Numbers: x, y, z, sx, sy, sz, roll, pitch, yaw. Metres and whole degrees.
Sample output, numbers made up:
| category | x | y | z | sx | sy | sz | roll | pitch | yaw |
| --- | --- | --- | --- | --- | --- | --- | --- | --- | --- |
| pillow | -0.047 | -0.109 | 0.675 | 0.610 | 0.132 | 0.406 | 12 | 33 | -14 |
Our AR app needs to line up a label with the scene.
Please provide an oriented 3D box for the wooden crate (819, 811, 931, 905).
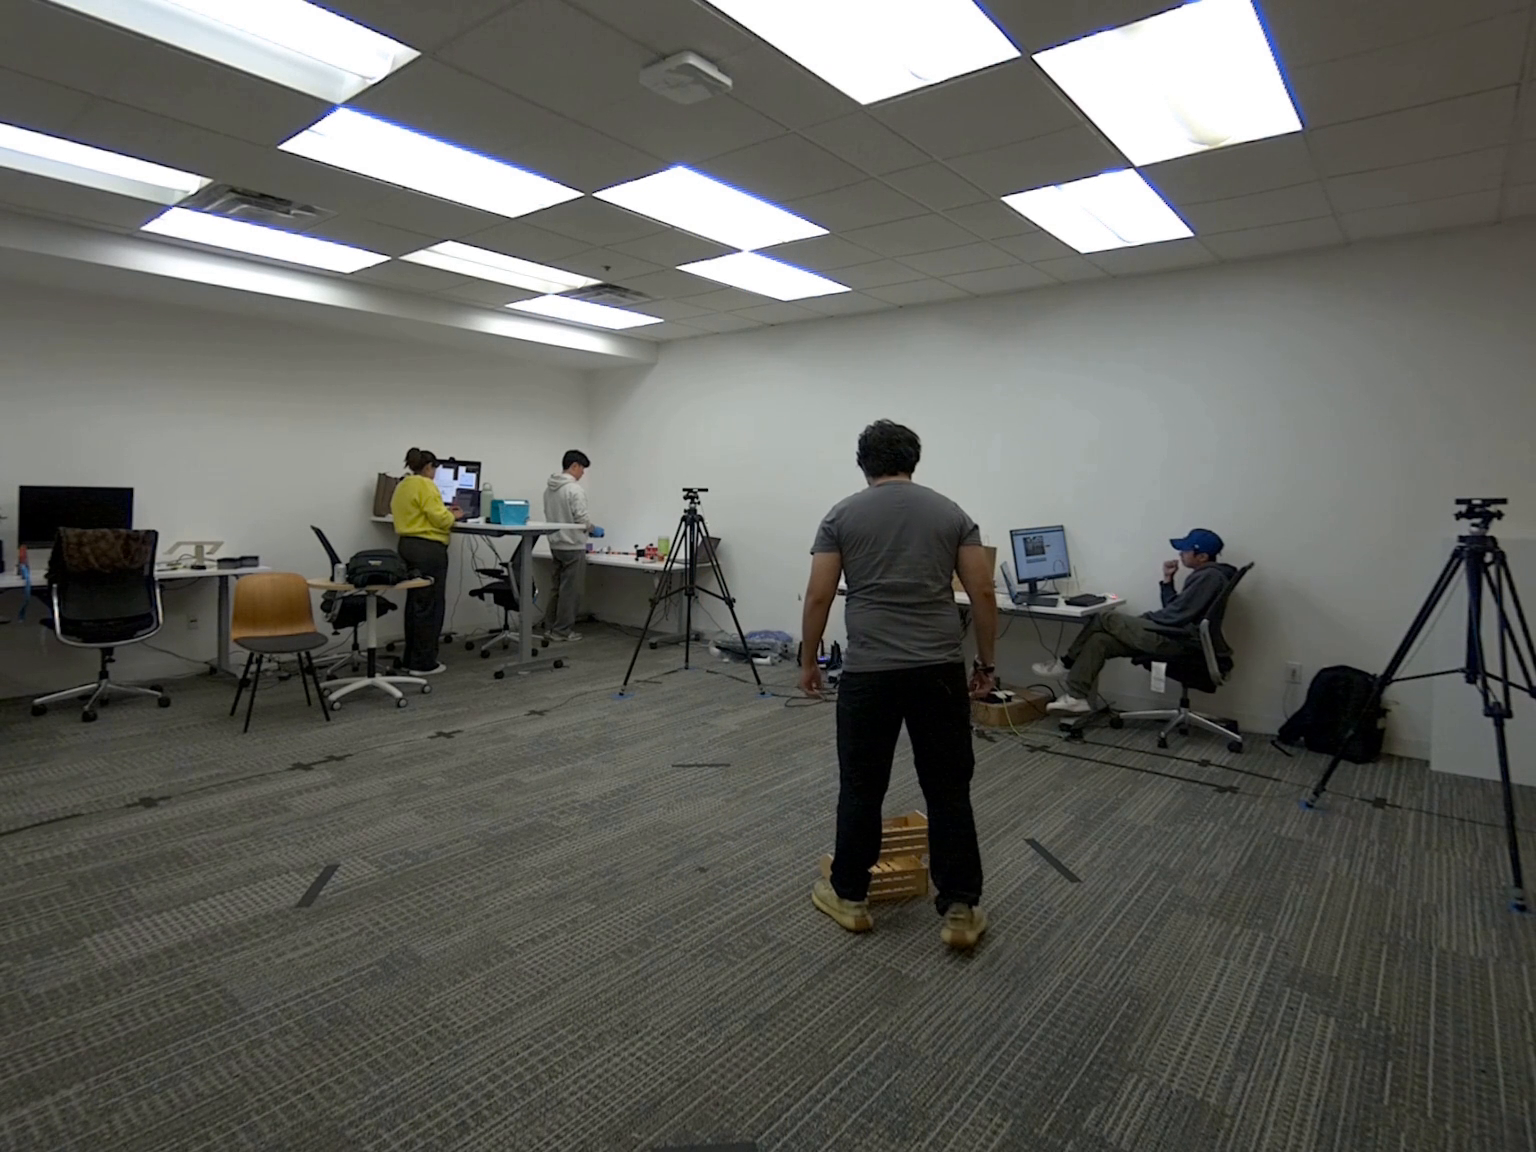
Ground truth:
| category | x | y | z | sx | sy | sz | roll | pitch | yaw |
| --- | --- | --- | --- | --- | --- | --- | --- | --- | --- |
| wooden crate | 0.388 | 0.963 | 3.014 | 0.318 | 0.272 | 0.309 | 0 | 5 | -20 |
